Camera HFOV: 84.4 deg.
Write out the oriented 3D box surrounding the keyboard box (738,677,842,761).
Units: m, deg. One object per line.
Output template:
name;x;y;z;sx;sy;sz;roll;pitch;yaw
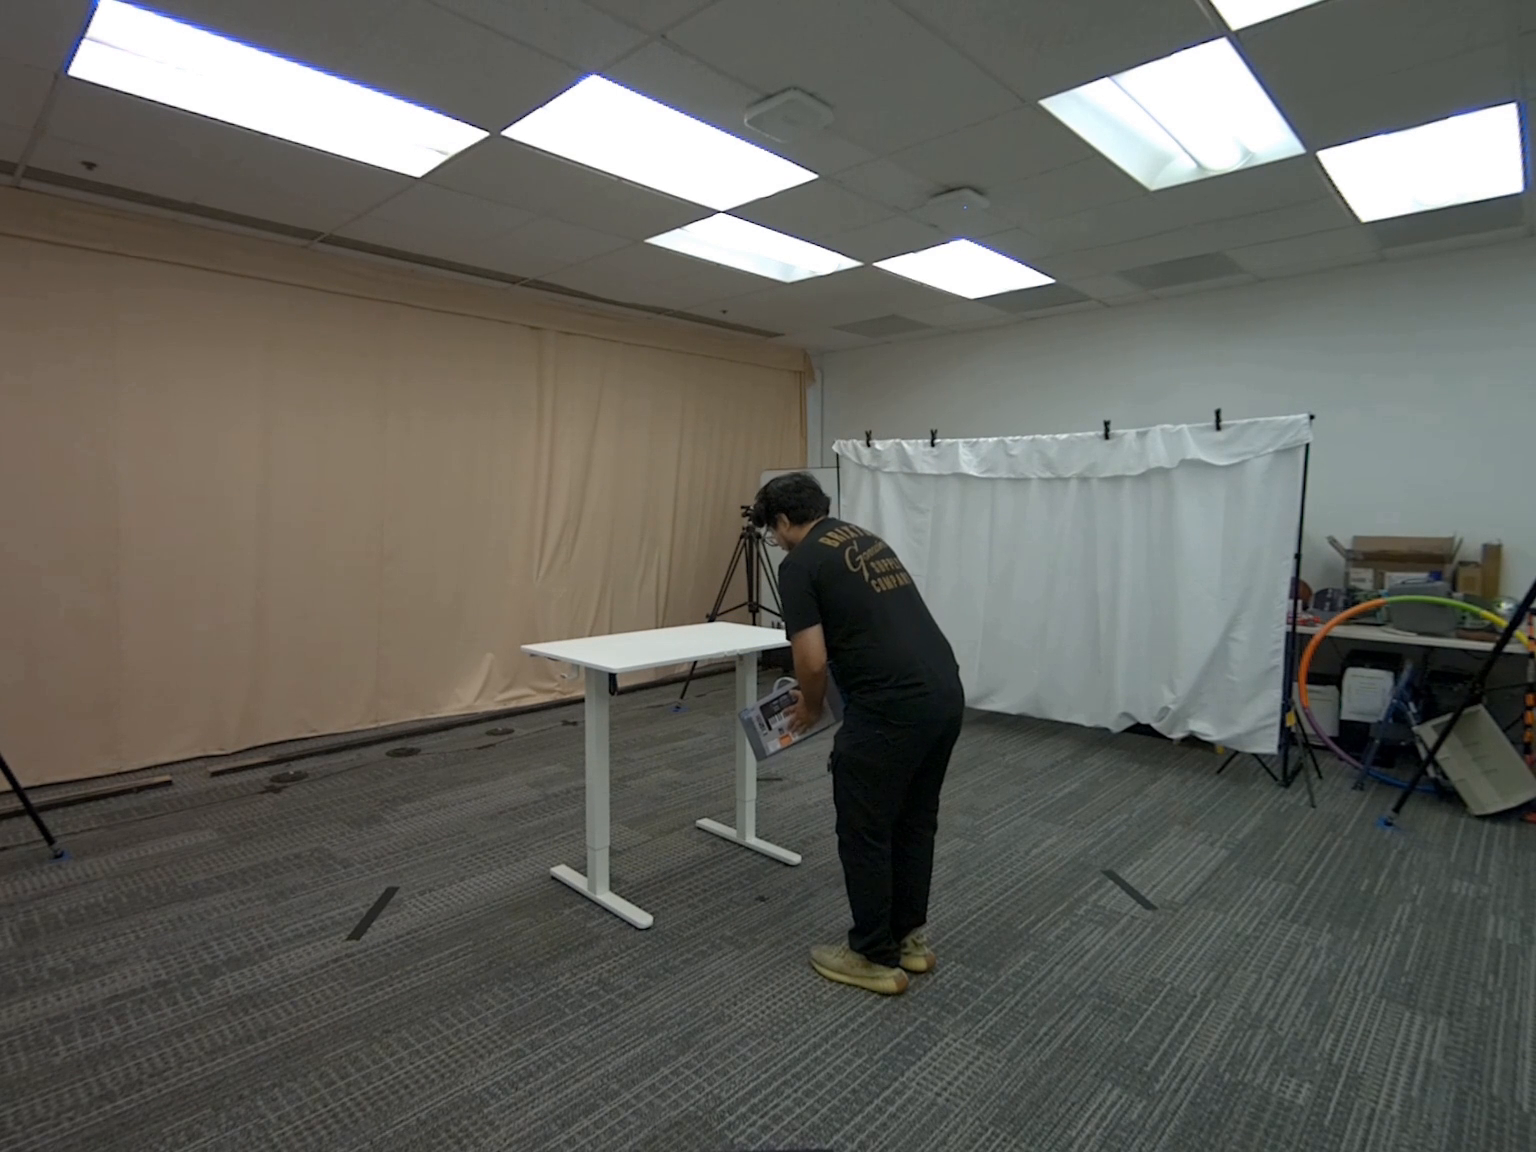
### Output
keyboard box;0.088;0.441;2.691;0.057;0.179;0.443;-5;-24;-44
